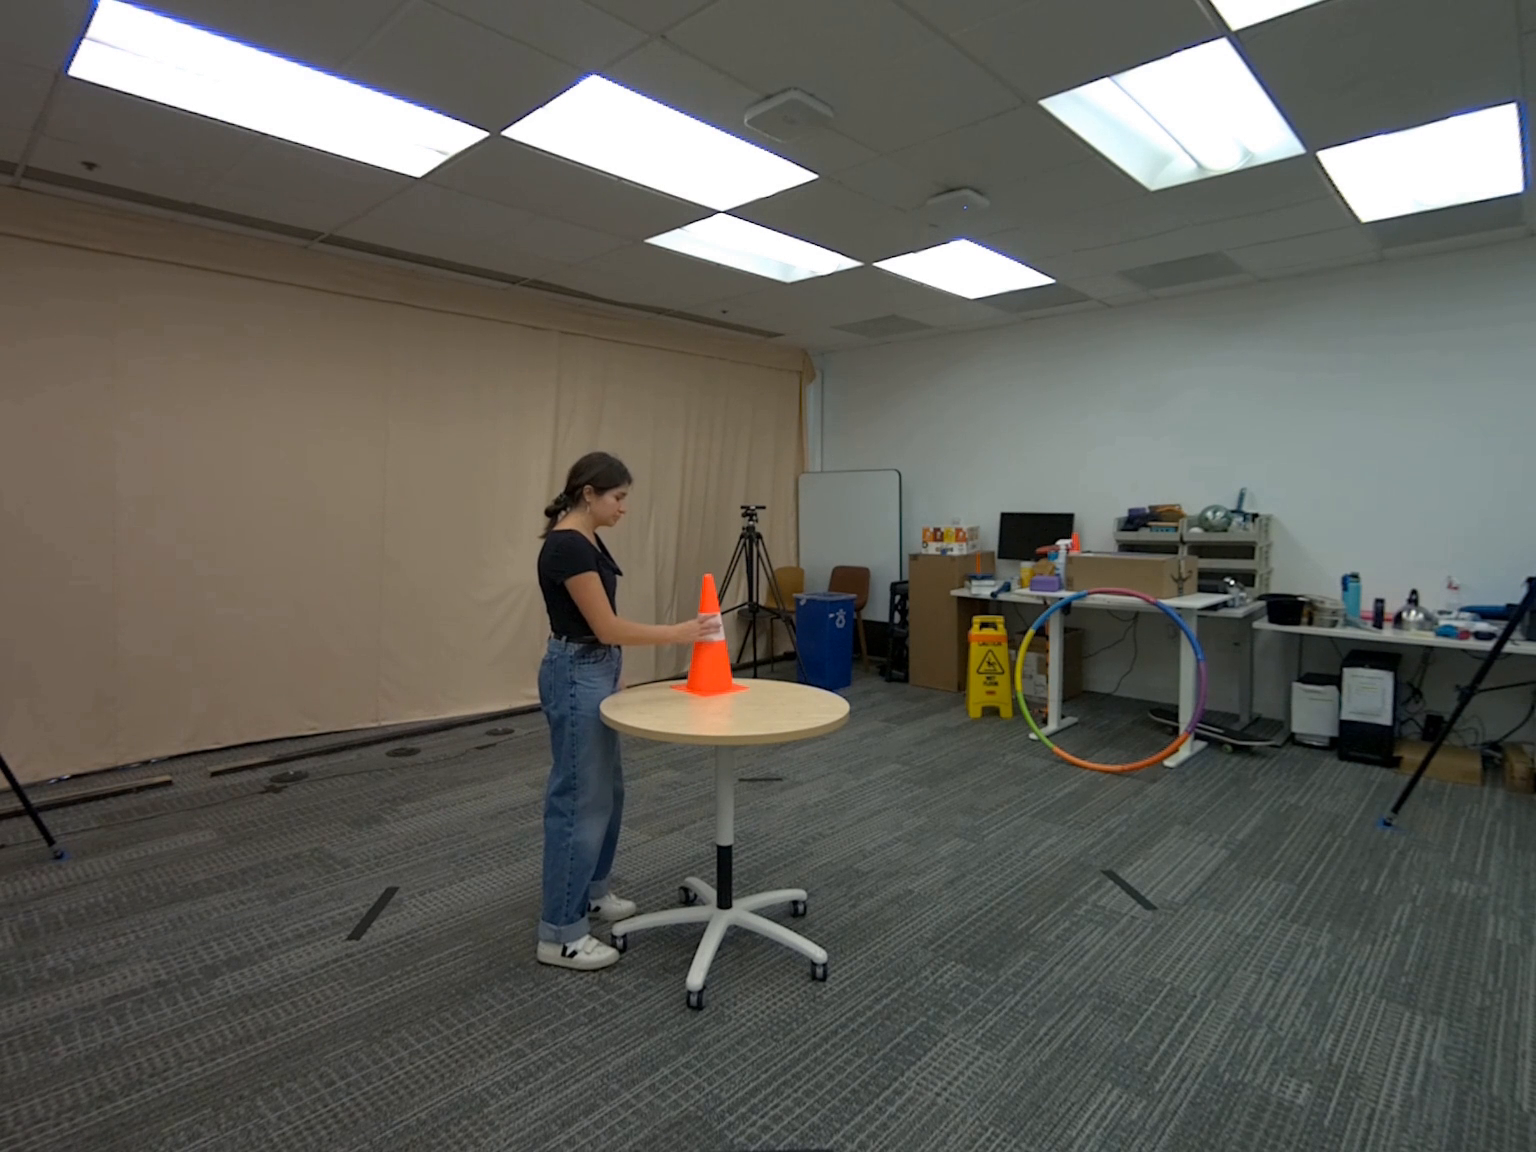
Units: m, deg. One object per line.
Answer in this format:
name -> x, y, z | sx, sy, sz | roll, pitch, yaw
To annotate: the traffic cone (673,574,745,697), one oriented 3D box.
traffic cone -> -0.191, 0.193, 2.802 | 0.199, 0.383, 0.209 | -3, 3, -32
